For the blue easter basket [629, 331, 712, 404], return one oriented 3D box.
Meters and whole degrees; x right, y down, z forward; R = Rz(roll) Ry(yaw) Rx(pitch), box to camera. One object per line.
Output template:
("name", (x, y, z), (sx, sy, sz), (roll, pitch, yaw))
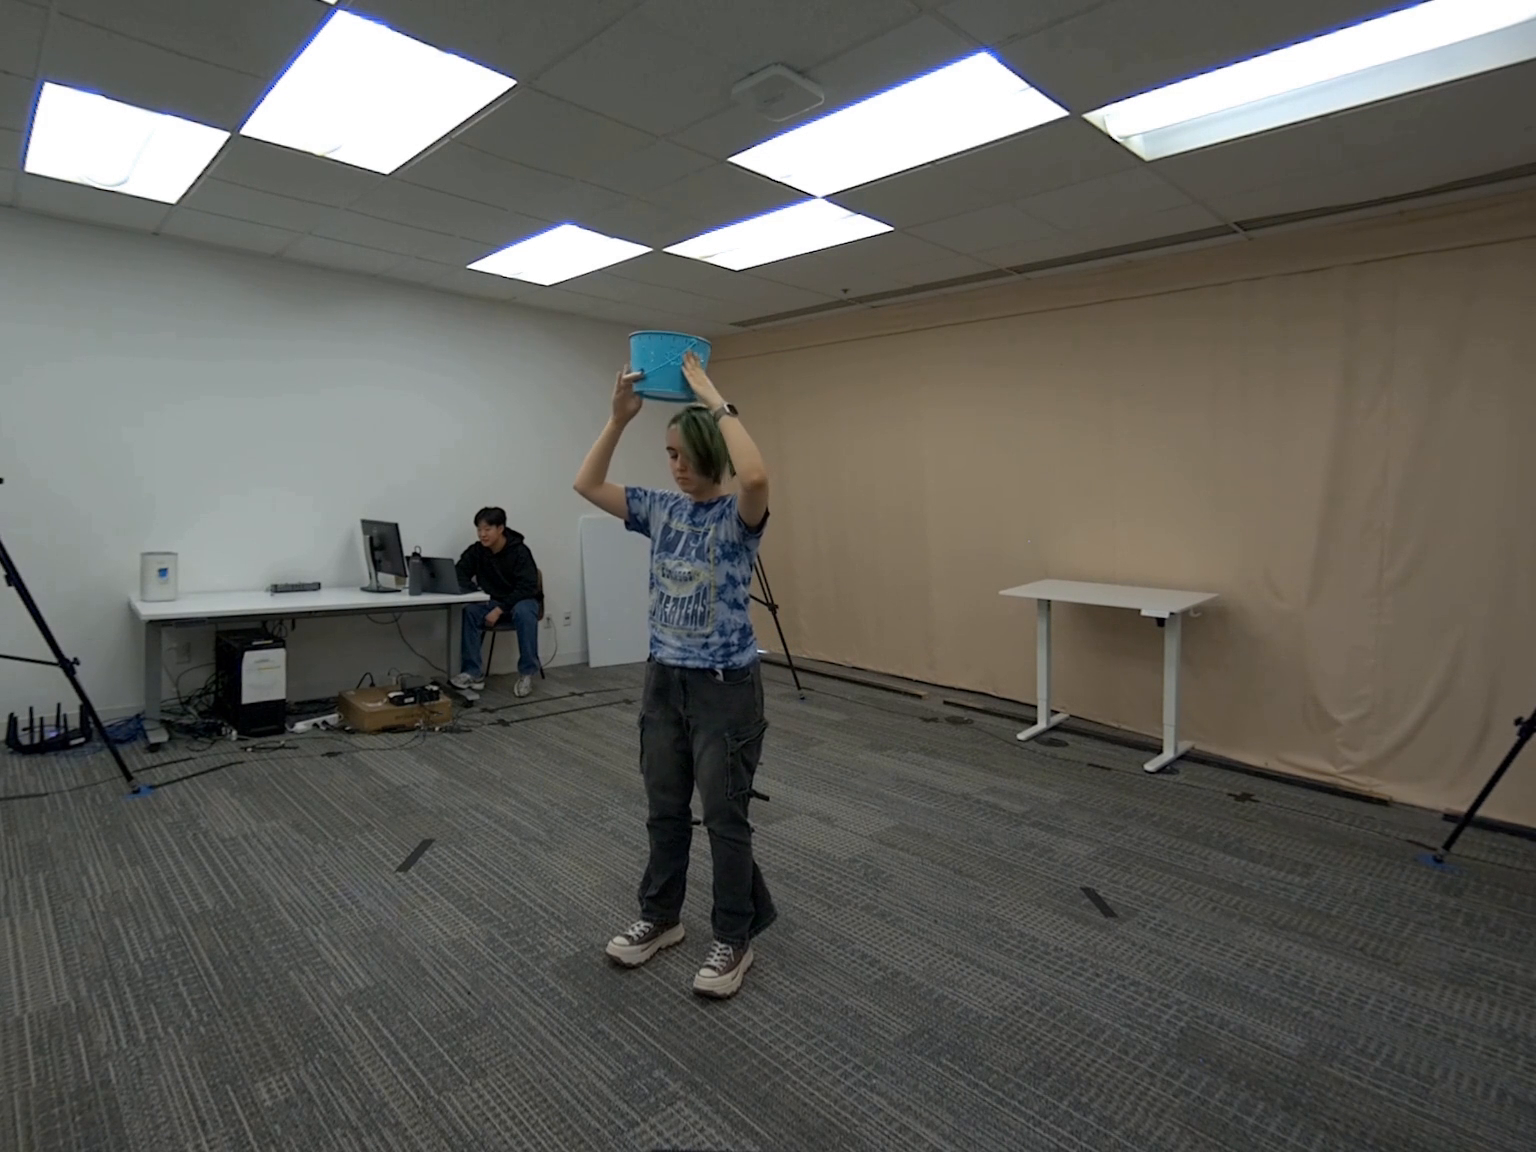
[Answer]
("blue easter basket", (-0.288, -0.561, 2.300), (0.243, 0.156, 0.244), (5, 2, -1))
